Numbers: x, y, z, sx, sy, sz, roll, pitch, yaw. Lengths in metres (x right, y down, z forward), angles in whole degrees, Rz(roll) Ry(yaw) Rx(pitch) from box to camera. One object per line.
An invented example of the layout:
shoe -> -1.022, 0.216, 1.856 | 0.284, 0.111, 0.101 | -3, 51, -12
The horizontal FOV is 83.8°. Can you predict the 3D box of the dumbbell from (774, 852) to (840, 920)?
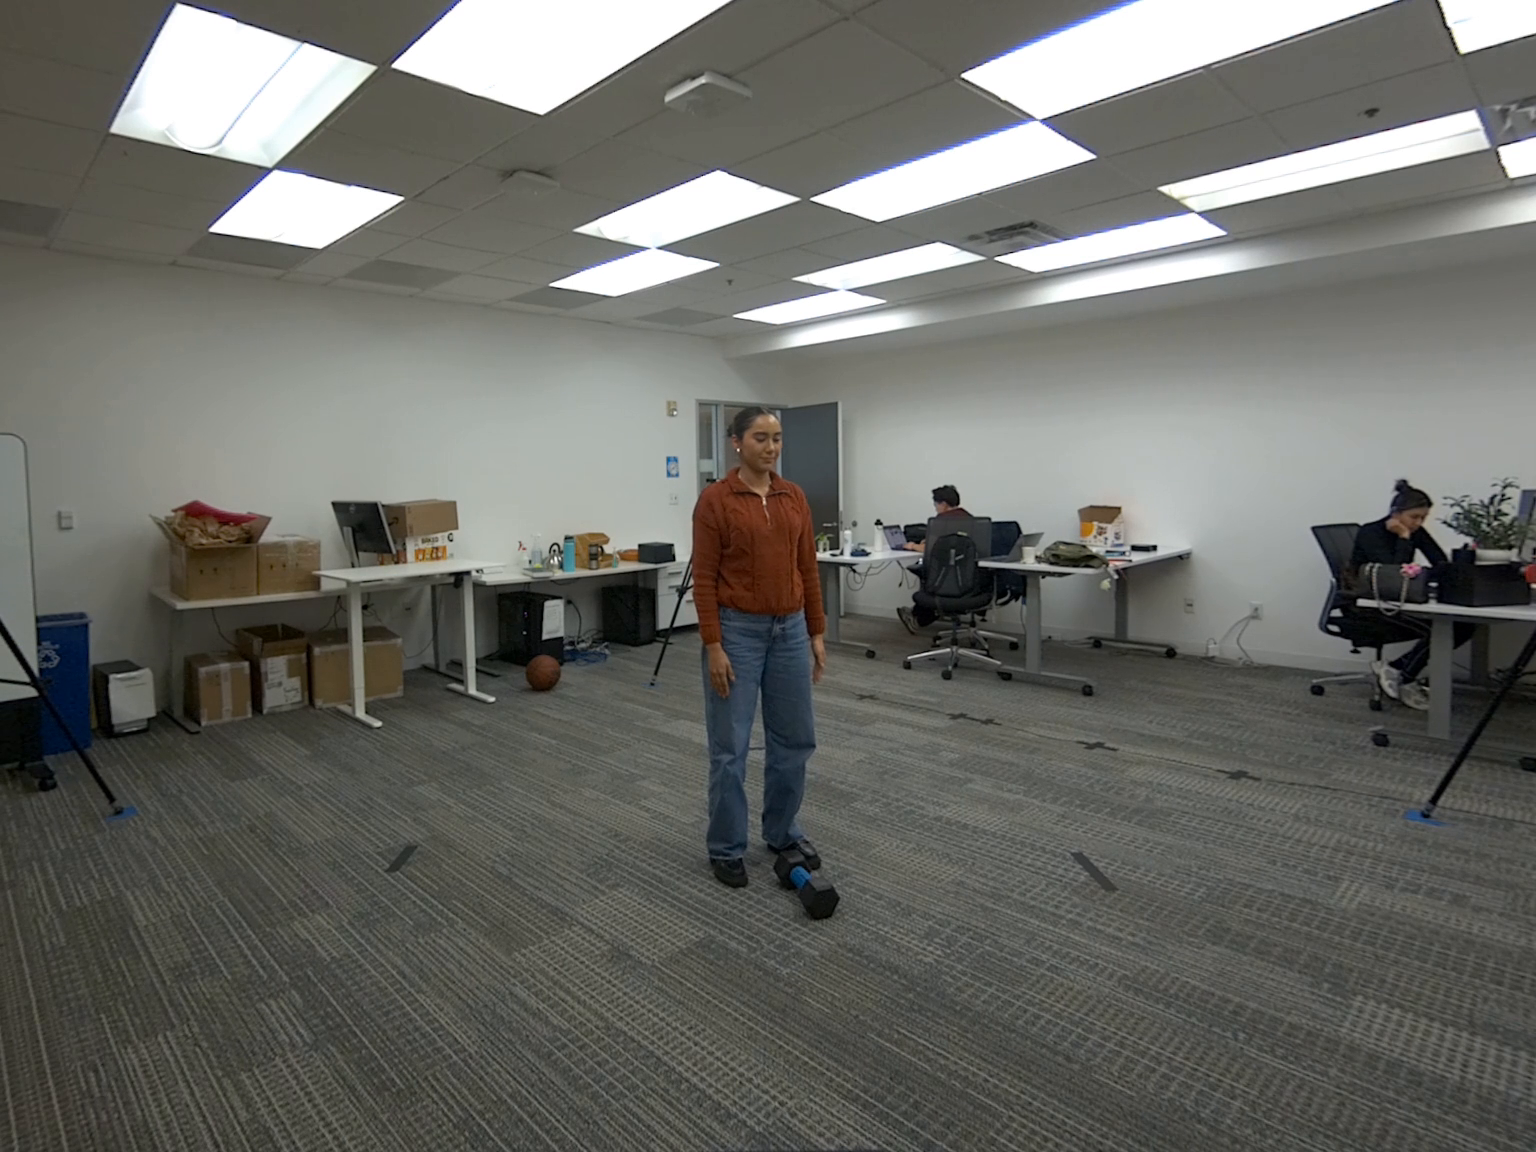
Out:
dumbbell -> 0.126, 1.025, 2.831 | 0.108, 0.121, 0.300 | -34, 16, -16
